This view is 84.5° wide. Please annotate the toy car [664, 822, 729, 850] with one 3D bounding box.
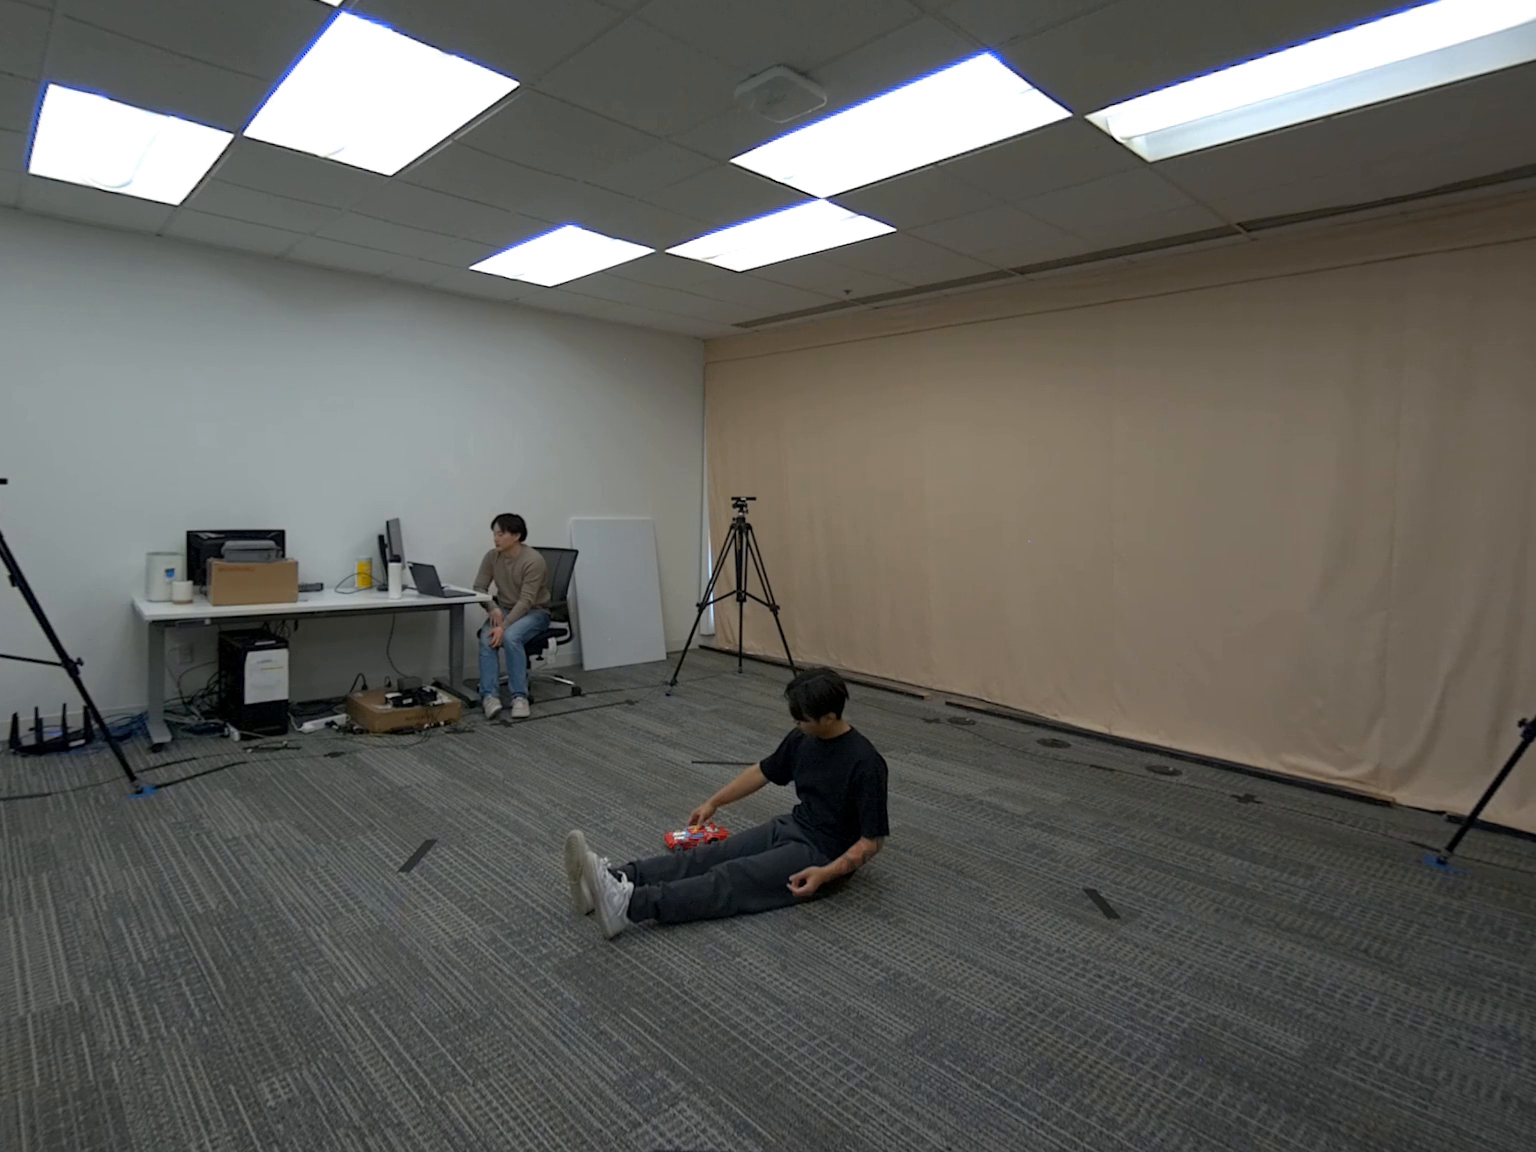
[{"bbox_3d":[-0.287,1.044,3.368,0.252,0.083,0.132,-11,9,-17],"label":"toy car"}]
